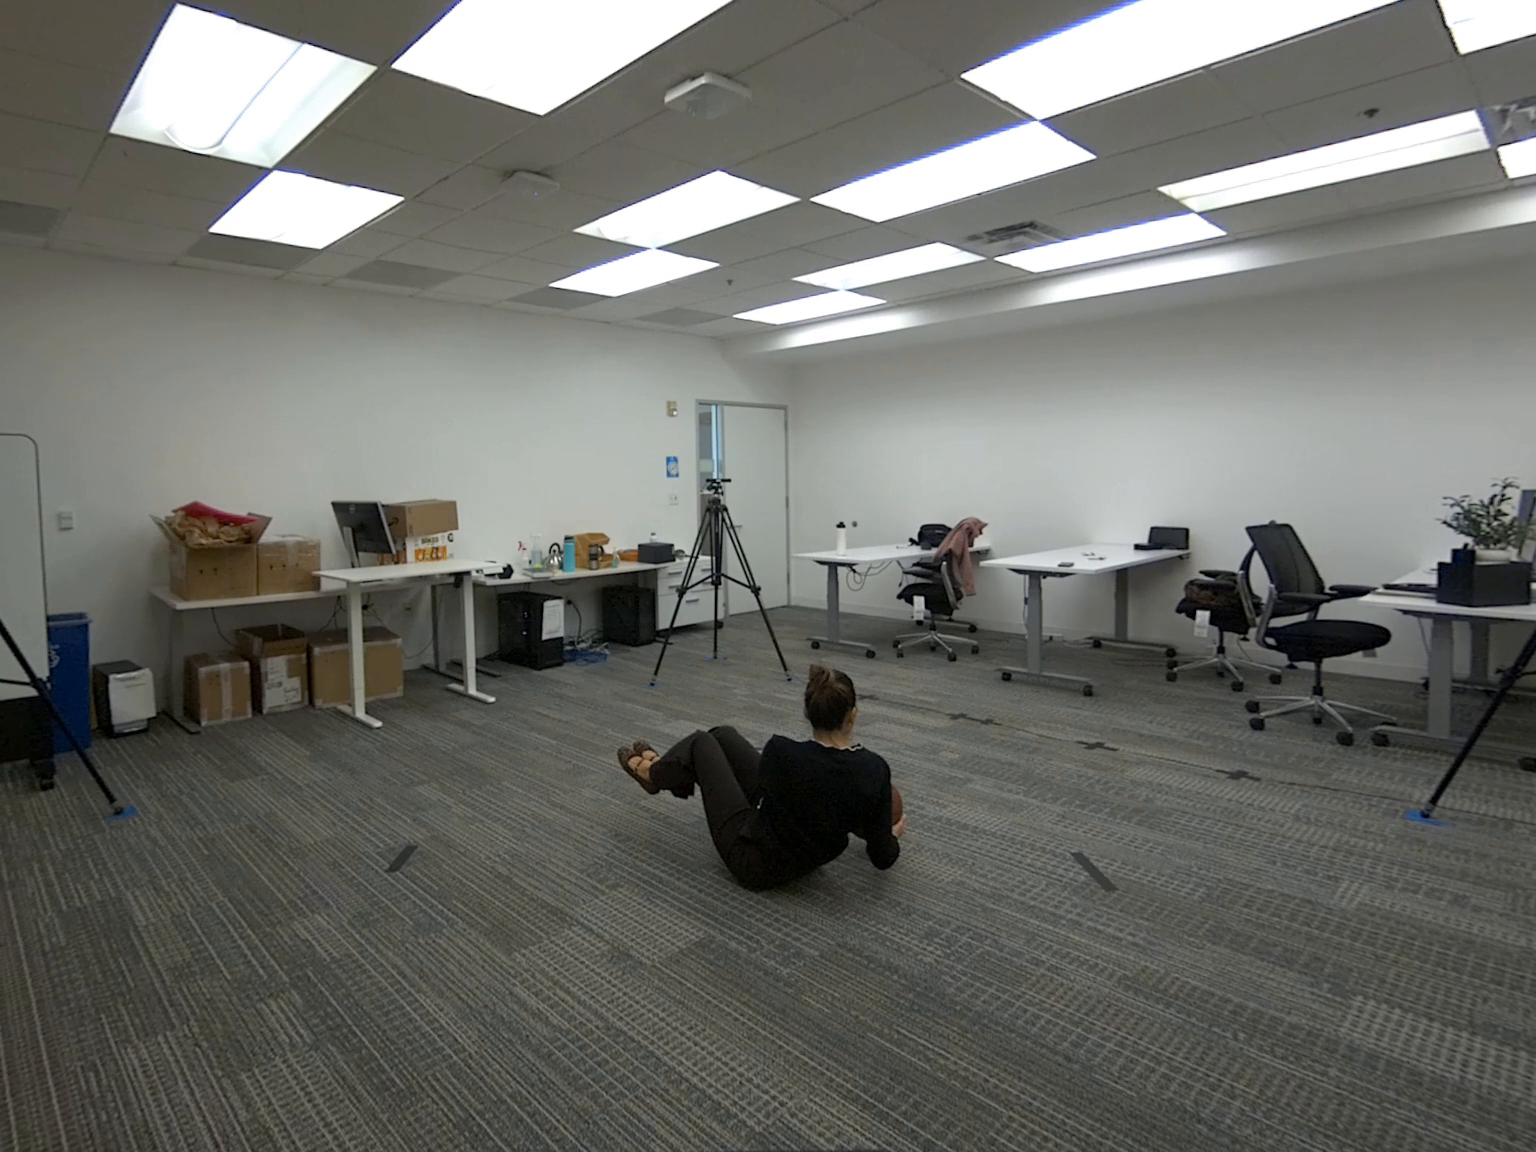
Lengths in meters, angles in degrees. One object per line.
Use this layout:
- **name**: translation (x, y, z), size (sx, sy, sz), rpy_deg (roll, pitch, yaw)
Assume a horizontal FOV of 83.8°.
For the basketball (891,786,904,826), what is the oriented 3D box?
- **basketball**: translation (0.377, 0.839, 3.181), size (0.236, 0.235, 0.237), rpy_deg (-1, 5, -2)
